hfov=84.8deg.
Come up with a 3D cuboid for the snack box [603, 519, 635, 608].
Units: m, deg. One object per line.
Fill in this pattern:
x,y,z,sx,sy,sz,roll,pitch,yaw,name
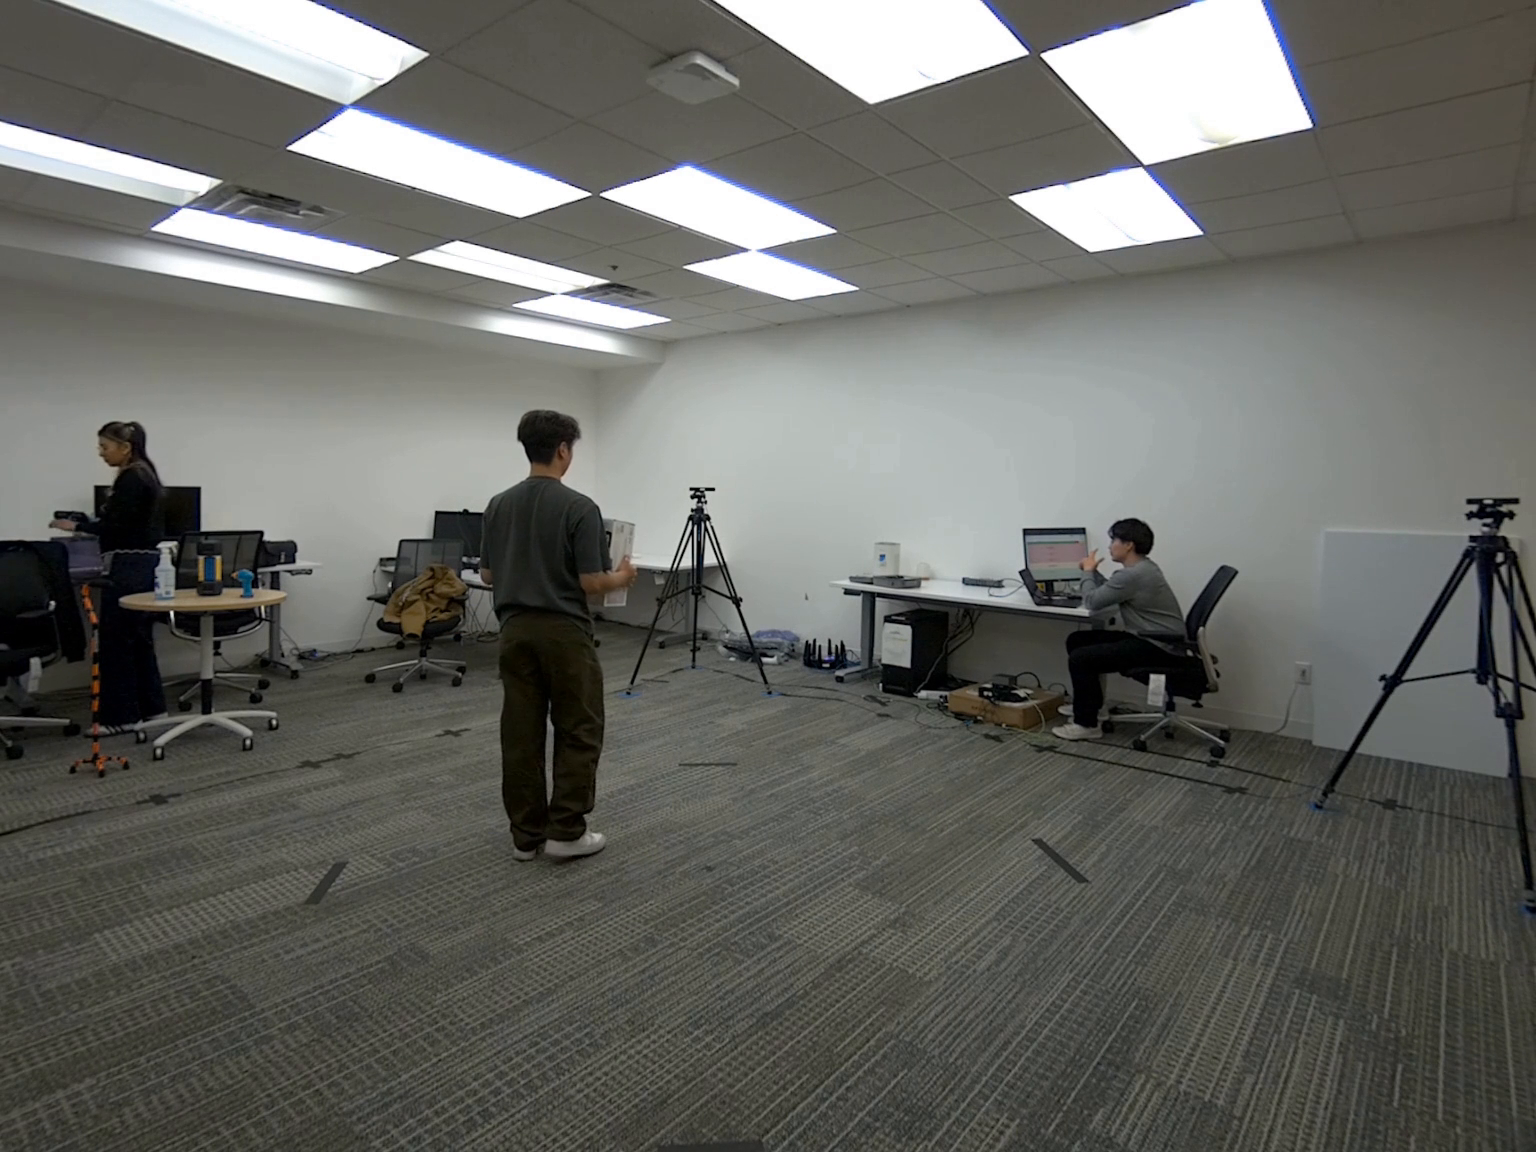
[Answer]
-0.779,-0.074,3.423,0.414,0.341,0.201,6,-2,19,snack box
